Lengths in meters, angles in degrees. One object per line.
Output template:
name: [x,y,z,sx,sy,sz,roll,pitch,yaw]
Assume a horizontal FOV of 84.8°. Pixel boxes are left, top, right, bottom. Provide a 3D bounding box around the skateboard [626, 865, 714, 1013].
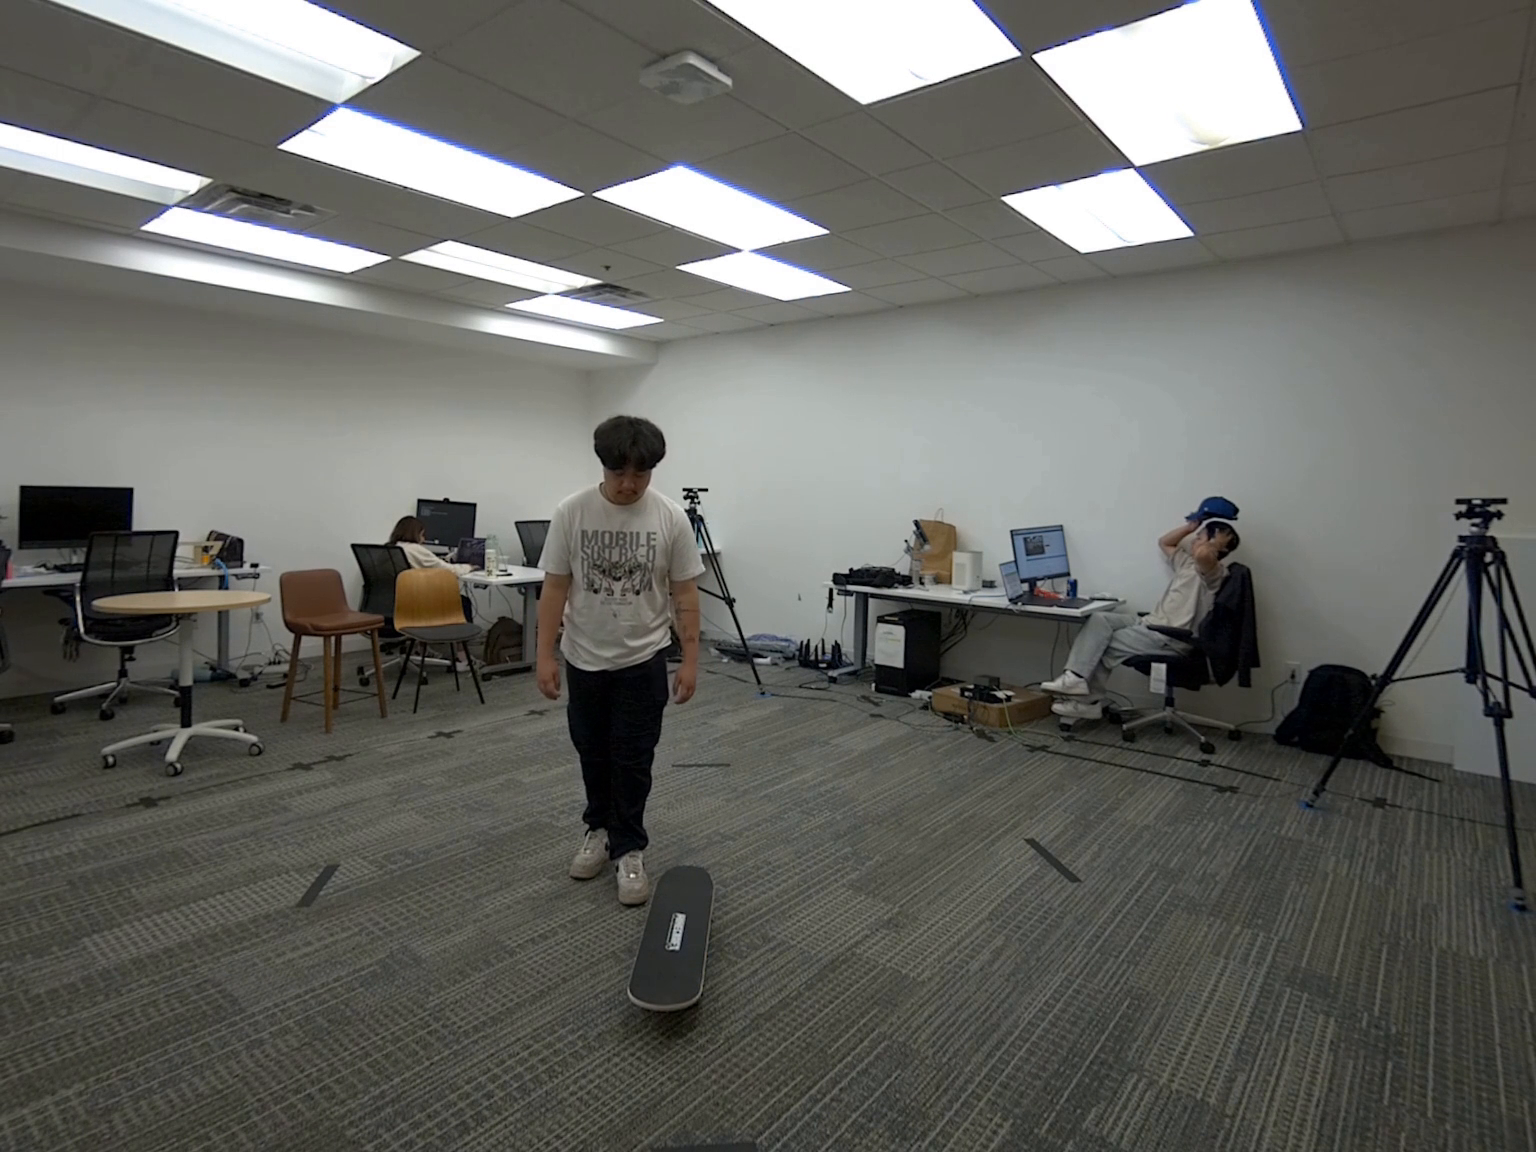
skateboard: [-0.277,1.071,2.496,0.194,0.110,0.787,1,6,1]
